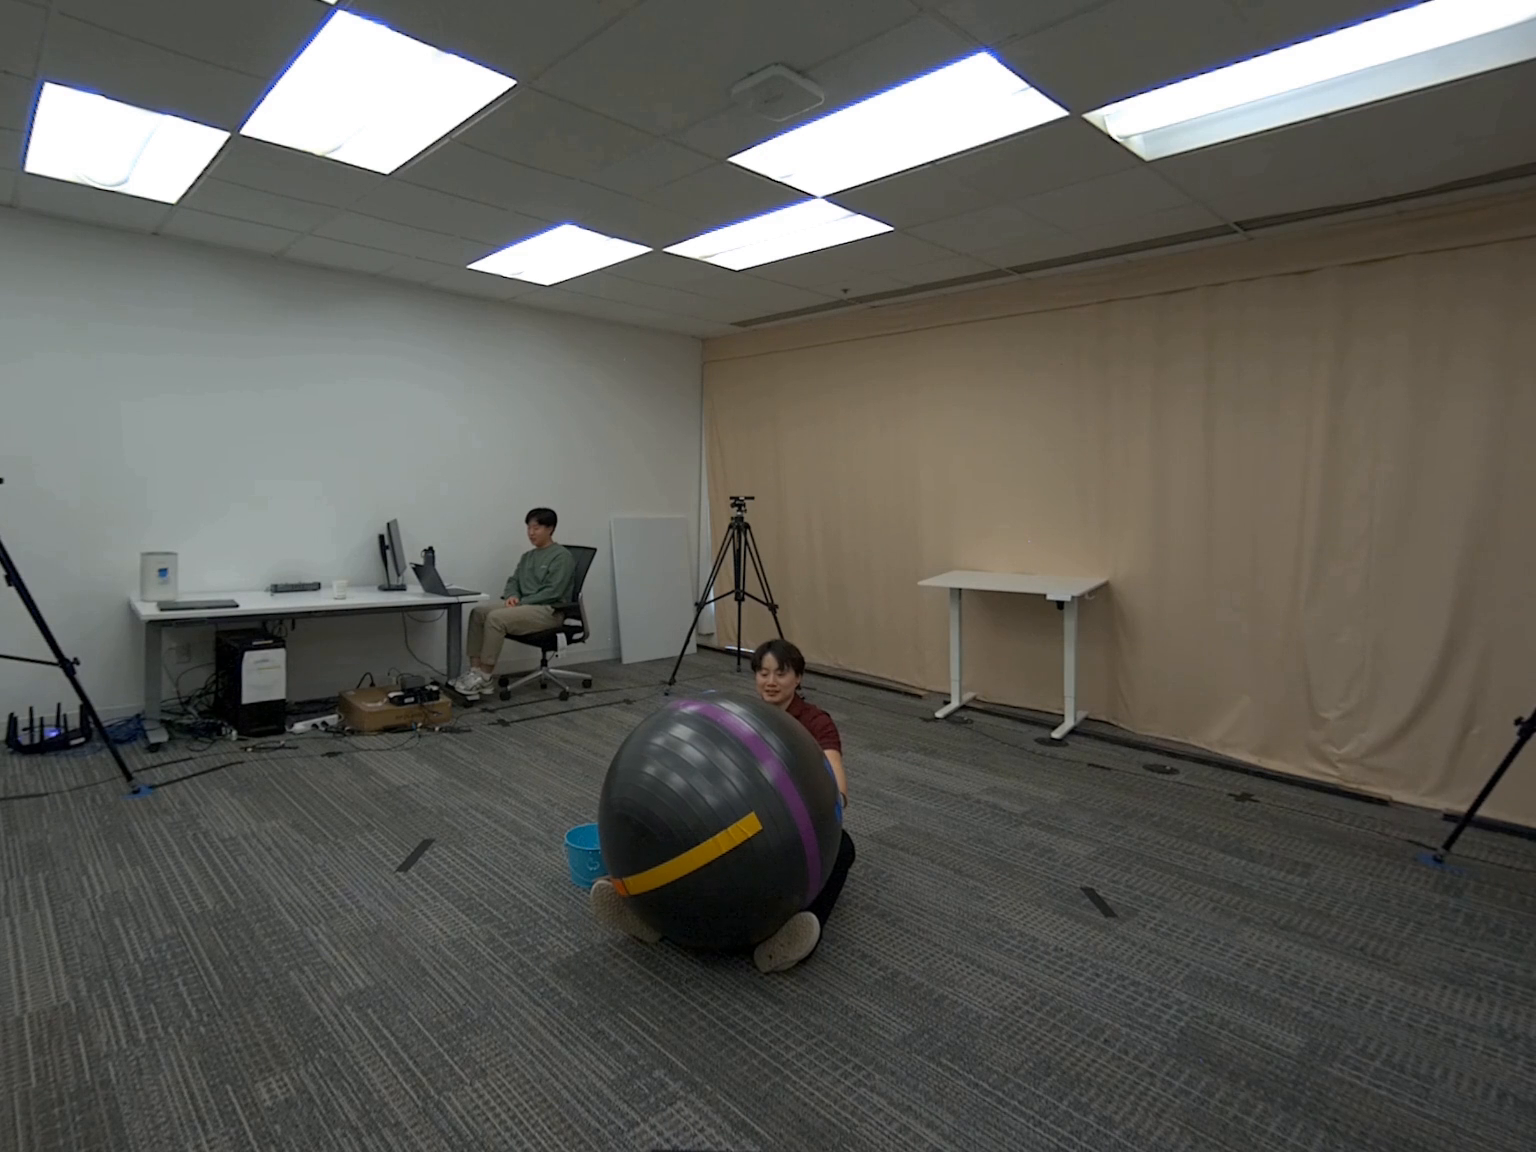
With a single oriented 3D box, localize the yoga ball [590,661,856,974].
[{"bbox_3d":[-0.154,0.750,2.621,0.757,0.756,0.761,1,4,-1],"label":"yoga ball"}]
